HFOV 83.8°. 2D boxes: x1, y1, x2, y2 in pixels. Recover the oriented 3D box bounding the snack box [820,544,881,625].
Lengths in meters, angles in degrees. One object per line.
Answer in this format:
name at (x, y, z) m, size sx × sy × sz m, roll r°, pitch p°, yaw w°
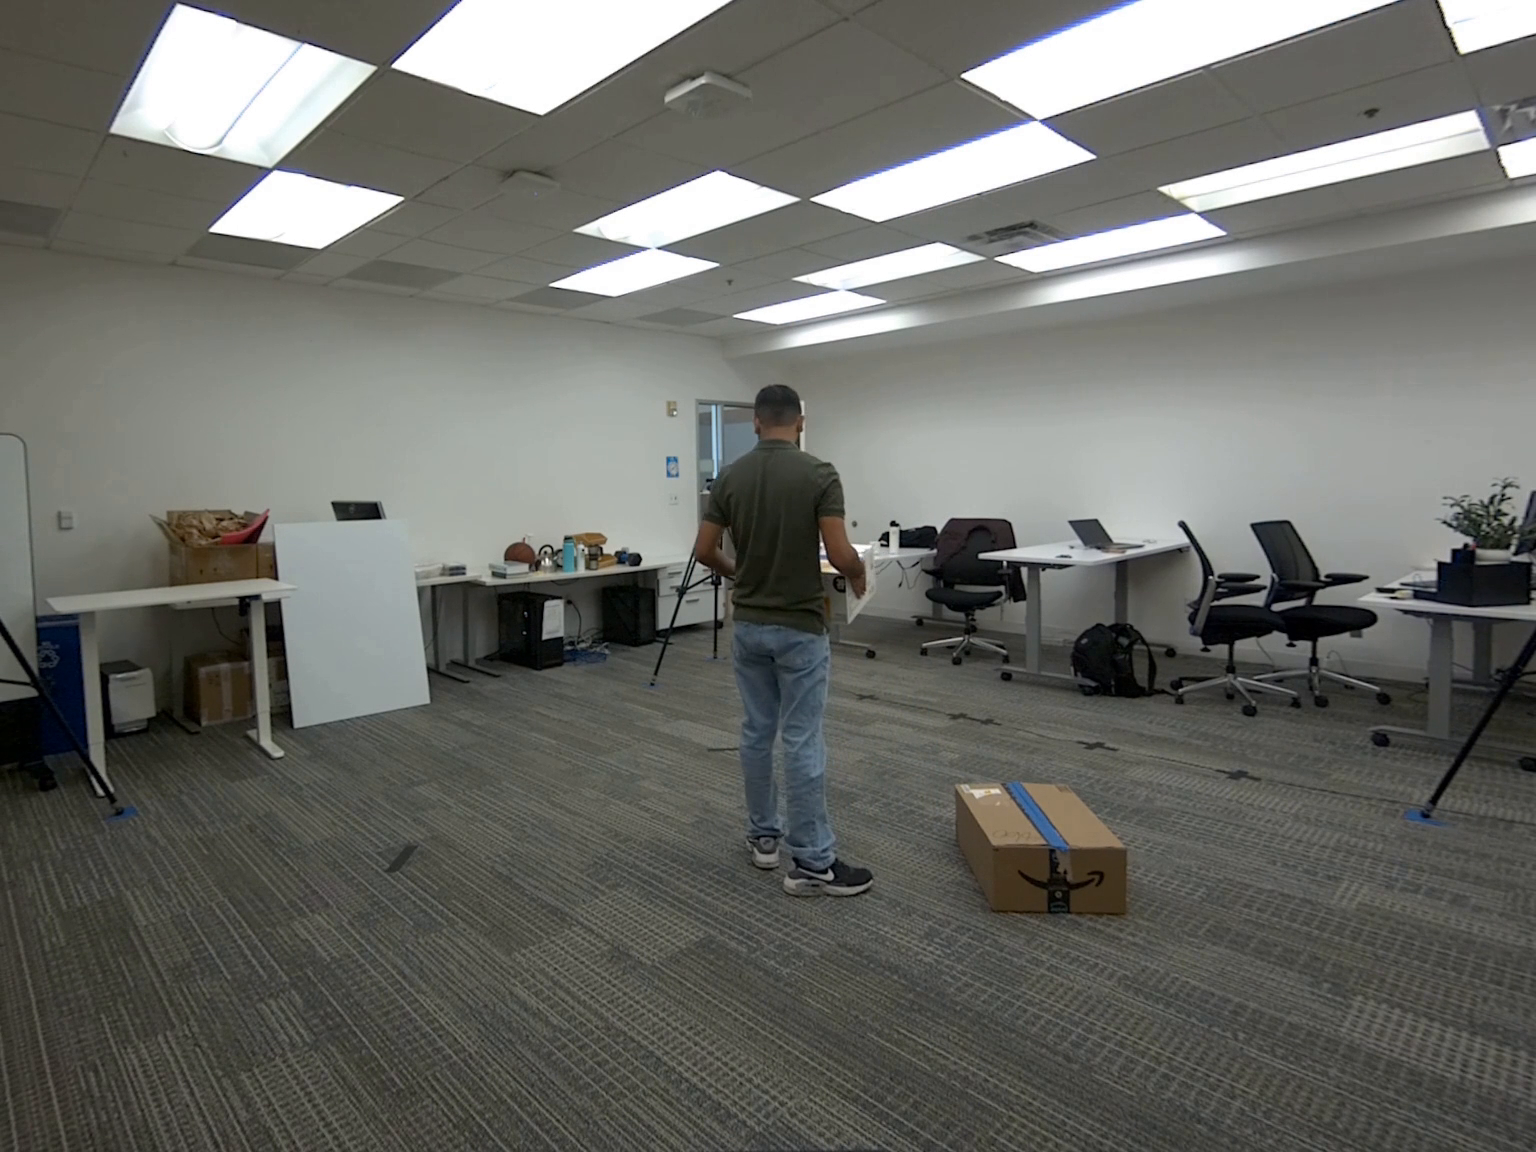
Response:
snack box at (0.170, 0.014, 3.296) m, size 0.415 × 0.202 × 0.337 m, roll 3°, pitch 20°, yaw 26°
